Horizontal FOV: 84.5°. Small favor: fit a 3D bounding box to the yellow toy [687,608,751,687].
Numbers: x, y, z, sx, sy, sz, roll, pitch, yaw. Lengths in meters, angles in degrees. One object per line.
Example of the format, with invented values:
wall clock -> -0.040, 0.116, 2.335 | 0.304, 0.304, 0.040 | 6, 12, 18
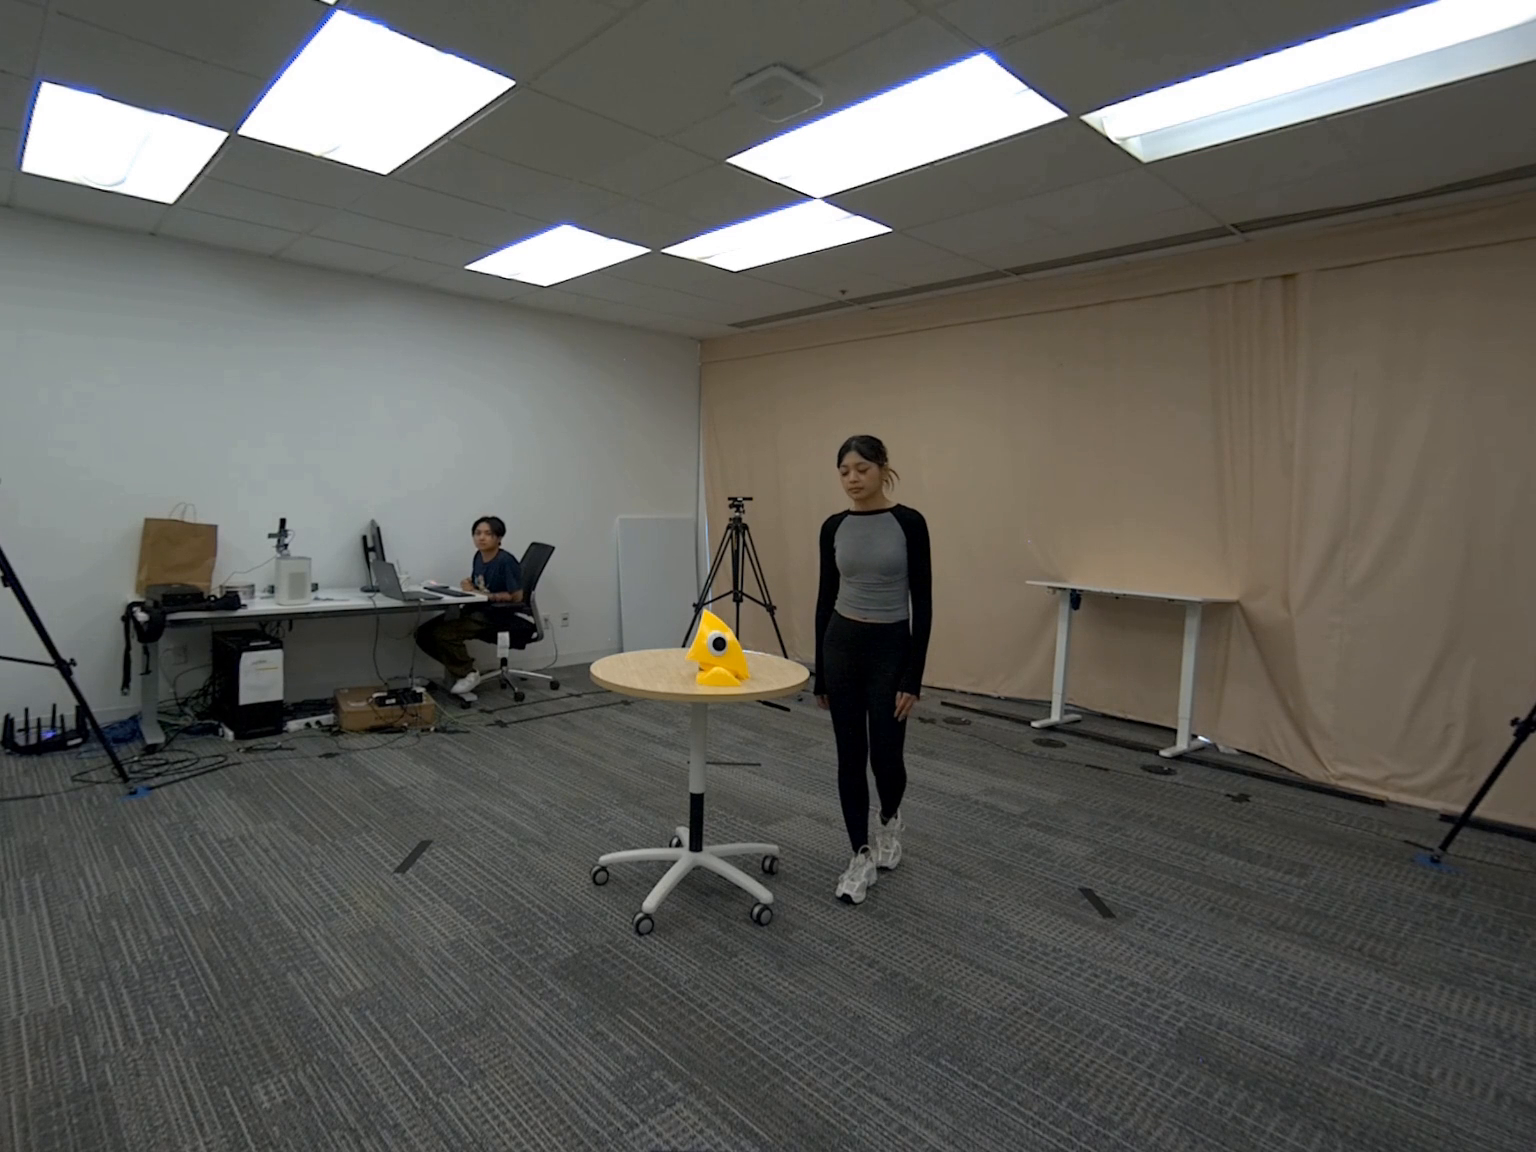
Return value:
yellow toy -> -0.163, 0.229, 2.785 | 0.195, 0.230, 0.203 | 2, 4, 14
